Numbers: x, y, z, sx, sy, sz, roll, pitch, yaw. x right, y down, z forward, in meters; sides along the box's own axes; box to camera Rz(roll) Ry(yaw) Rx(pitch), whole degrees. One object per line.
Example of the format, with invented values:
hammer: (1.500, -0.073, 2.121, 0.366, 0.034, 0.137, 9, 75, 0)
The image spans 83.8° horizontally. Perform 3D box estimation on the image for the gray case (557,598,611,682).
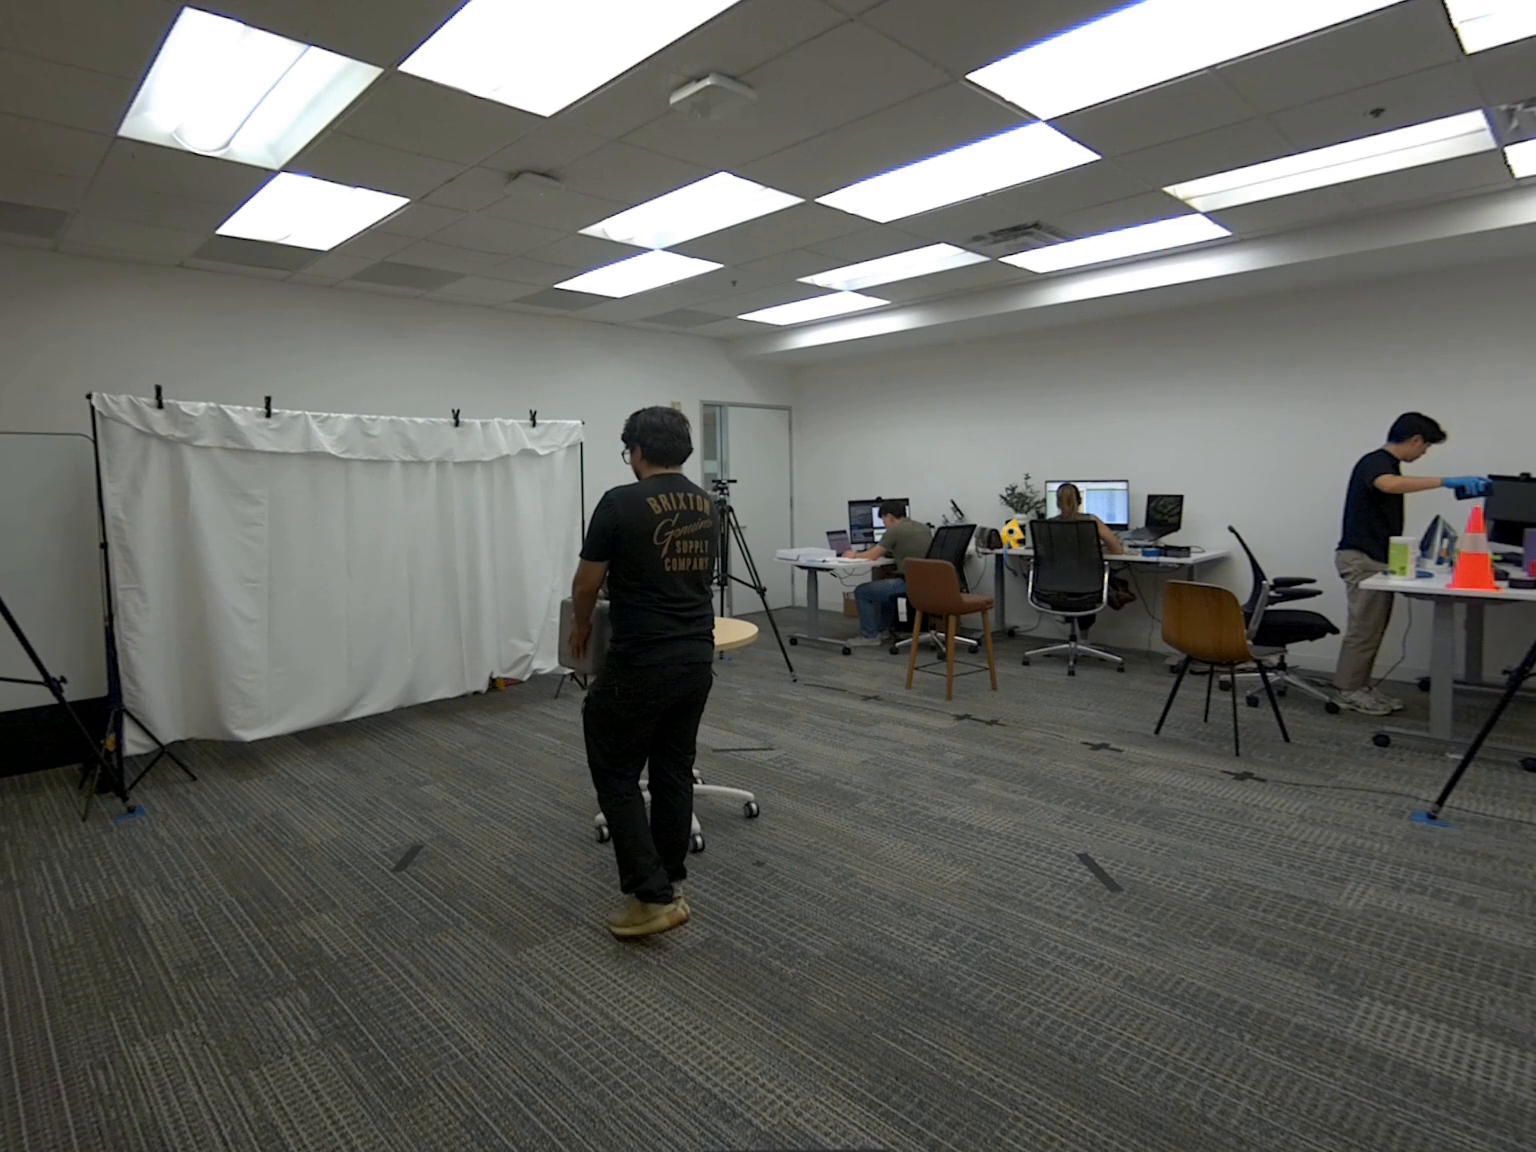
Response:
gray case: (-0.632, 0.199, 3.012, 0.101, 0.260, 0.265, 2, 2, -41)
